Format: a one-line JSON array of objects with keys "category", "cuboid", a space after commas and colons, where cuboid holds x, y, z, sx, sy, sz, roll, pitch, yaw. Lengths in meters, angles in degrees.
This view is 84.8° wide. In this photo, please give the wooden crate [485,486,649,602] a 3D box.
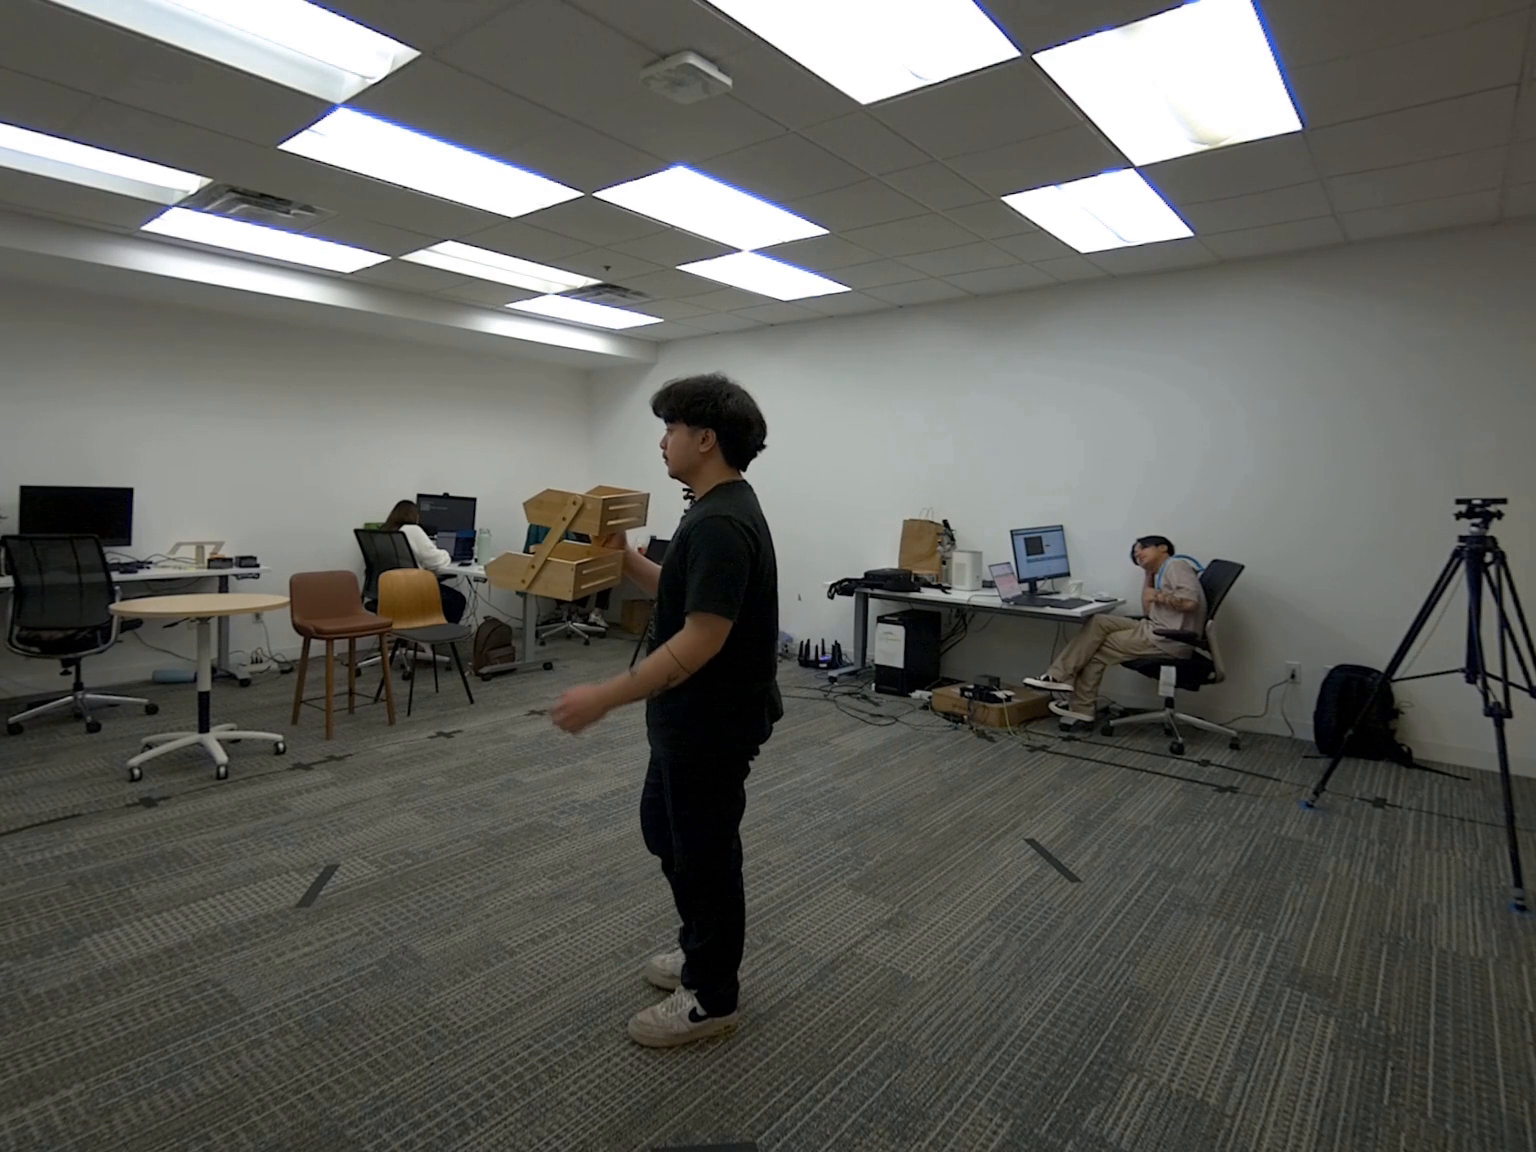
[{"category": "wooden crate", "cuboid": [-0.514, -0.106, 2.187, 0.307, 0.271, 0.321, 10, 9, 13]}]
